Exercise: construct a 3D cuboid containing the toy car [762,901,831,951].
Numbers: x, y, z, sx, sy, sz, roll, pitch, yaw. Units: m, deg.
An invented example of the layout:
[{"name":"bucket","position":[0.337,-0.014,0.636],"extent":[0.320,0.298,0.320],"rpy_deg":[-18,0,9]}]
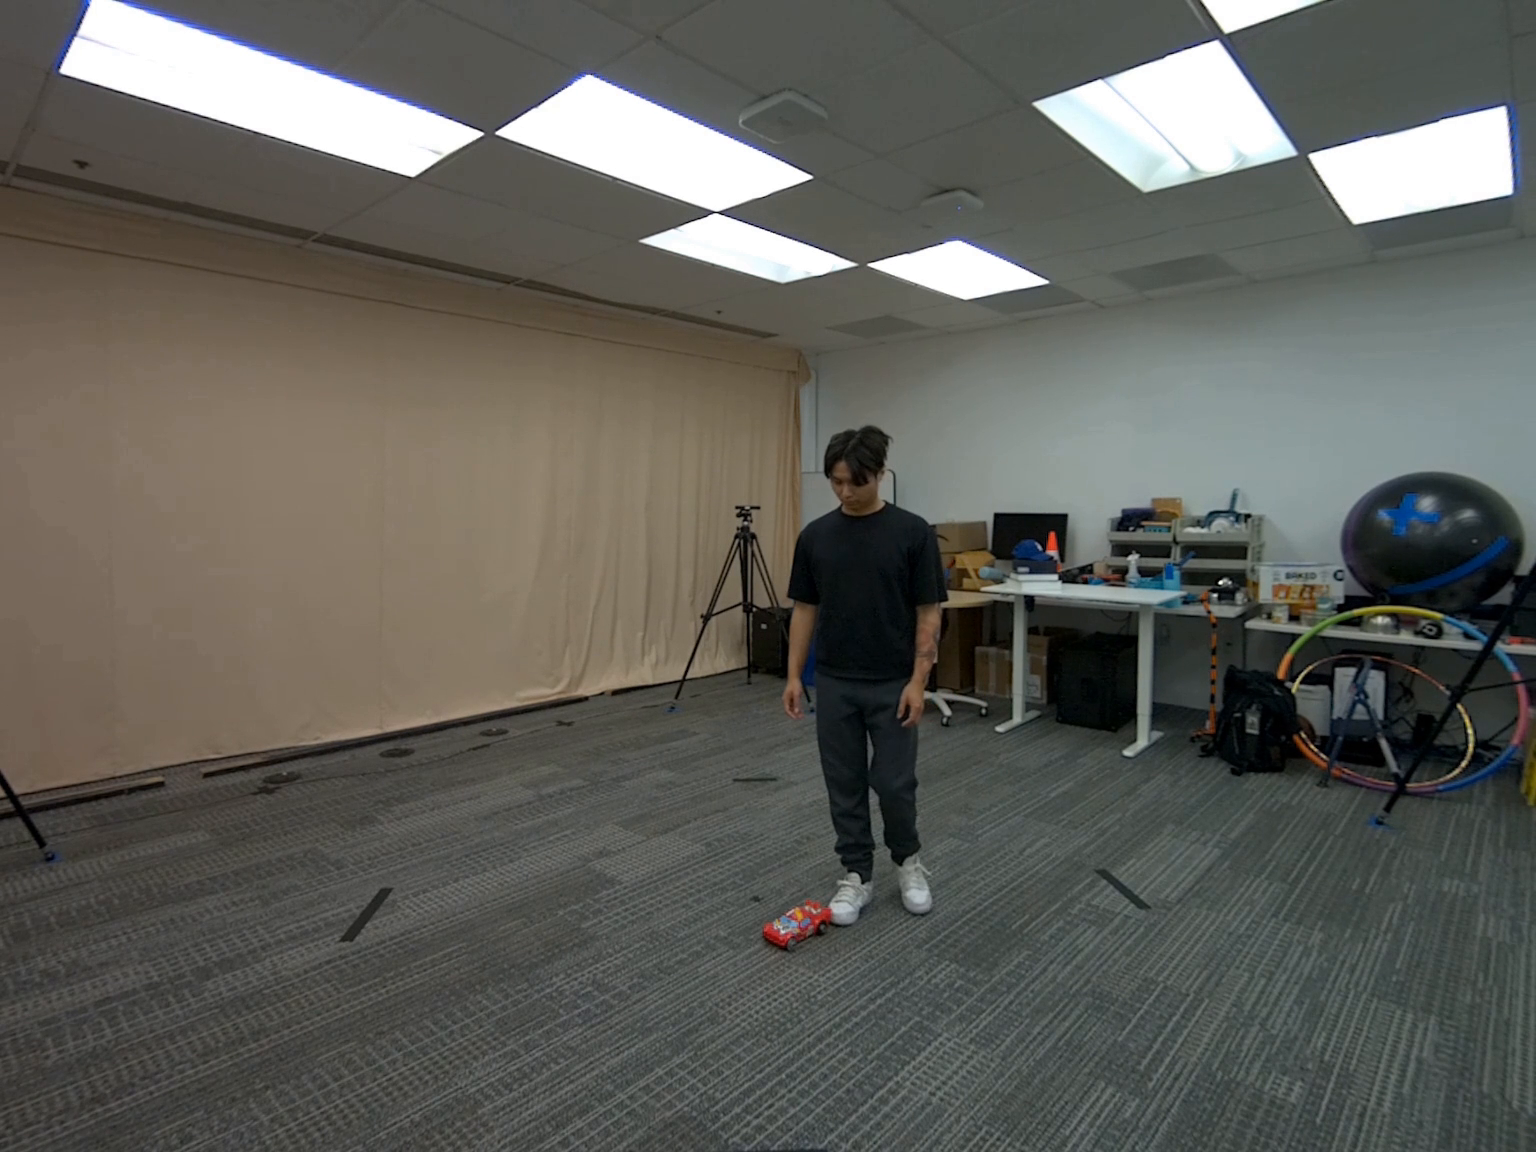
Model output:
[{"name":"toy car","position":[0.106,1.133,2.733],"extent":[0.248,0.082,0.134],"rpy_deg":[-18,15,-41]}]
